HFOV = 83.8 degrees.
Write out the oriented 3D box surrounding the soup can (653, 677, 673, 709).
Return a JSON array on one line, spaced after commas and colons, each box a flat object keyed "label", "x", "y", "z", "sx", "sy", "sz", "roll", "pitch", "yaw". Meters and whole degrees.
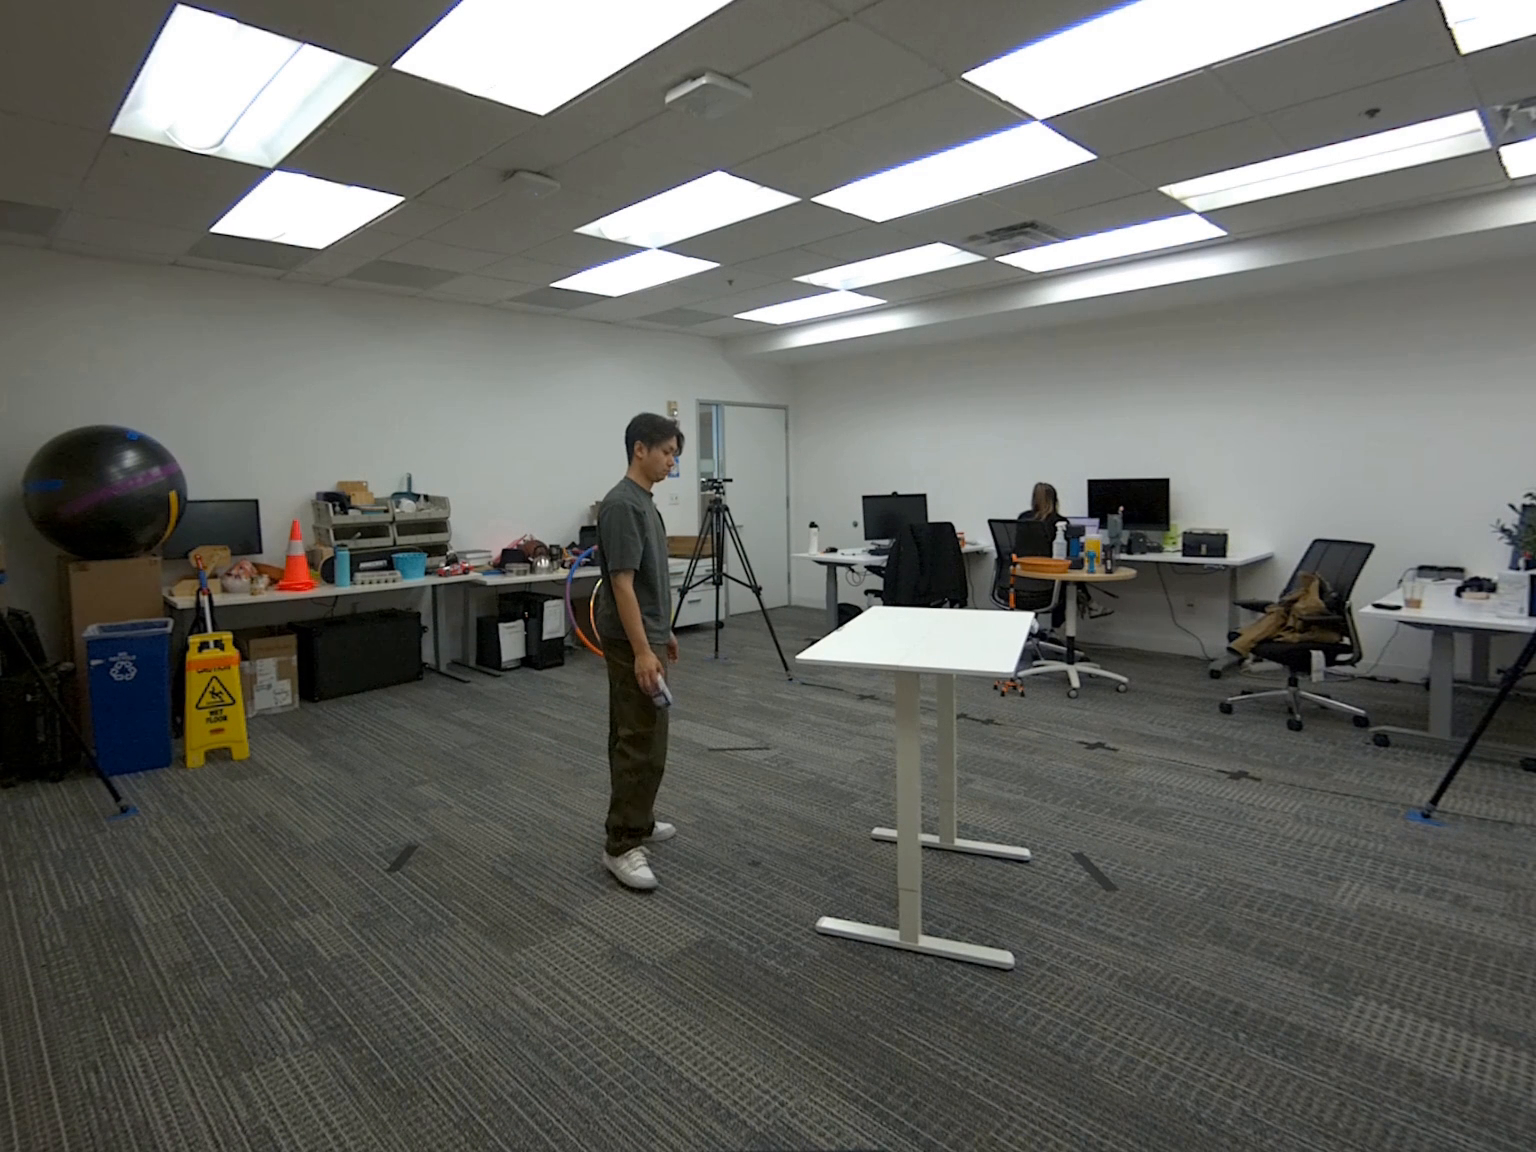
[{"label": "soup can", "x": -0.389, "y": 0.407, "z": 2.991, "sx": 0.067, "sy": 0.119, "sz": 0.068, "roll": -17, "pitch": 16, "yaw": 4}]
